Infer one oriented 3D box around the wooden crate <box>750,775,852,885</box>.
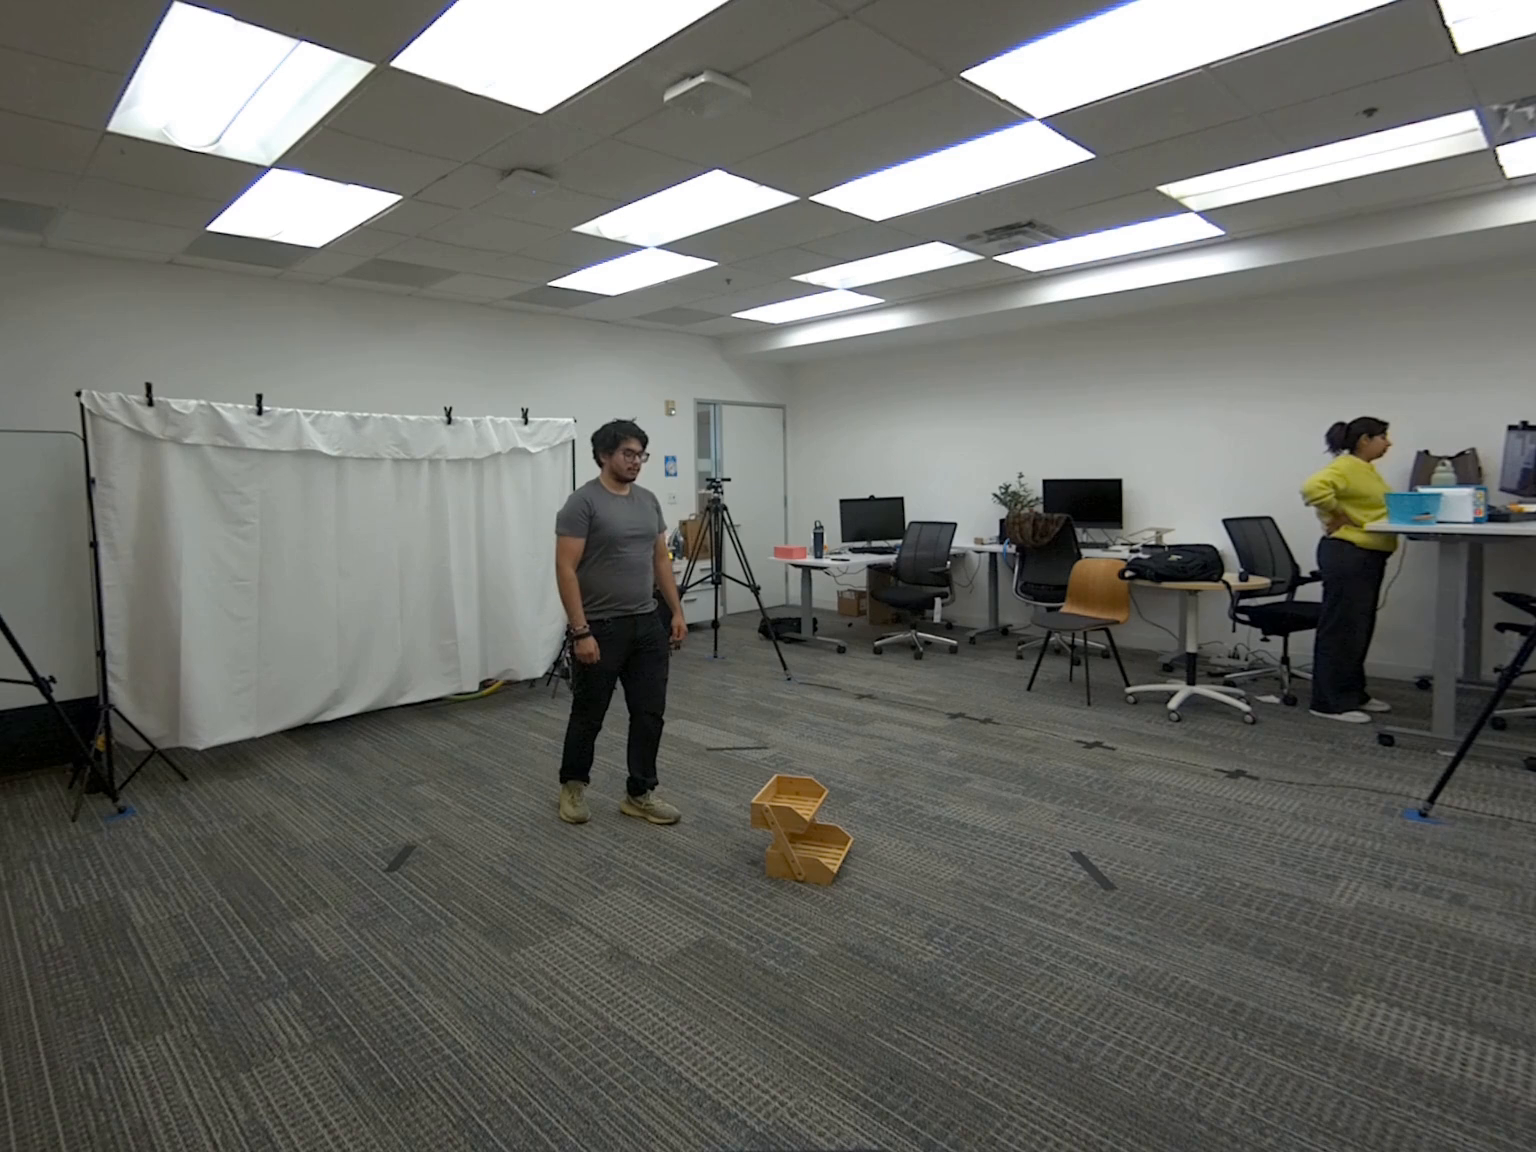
[{"bbox_3d":[0.138,0.905,3.100,0.307,0.272,0.320,0,5,19],"label":"wooden crate"}]
